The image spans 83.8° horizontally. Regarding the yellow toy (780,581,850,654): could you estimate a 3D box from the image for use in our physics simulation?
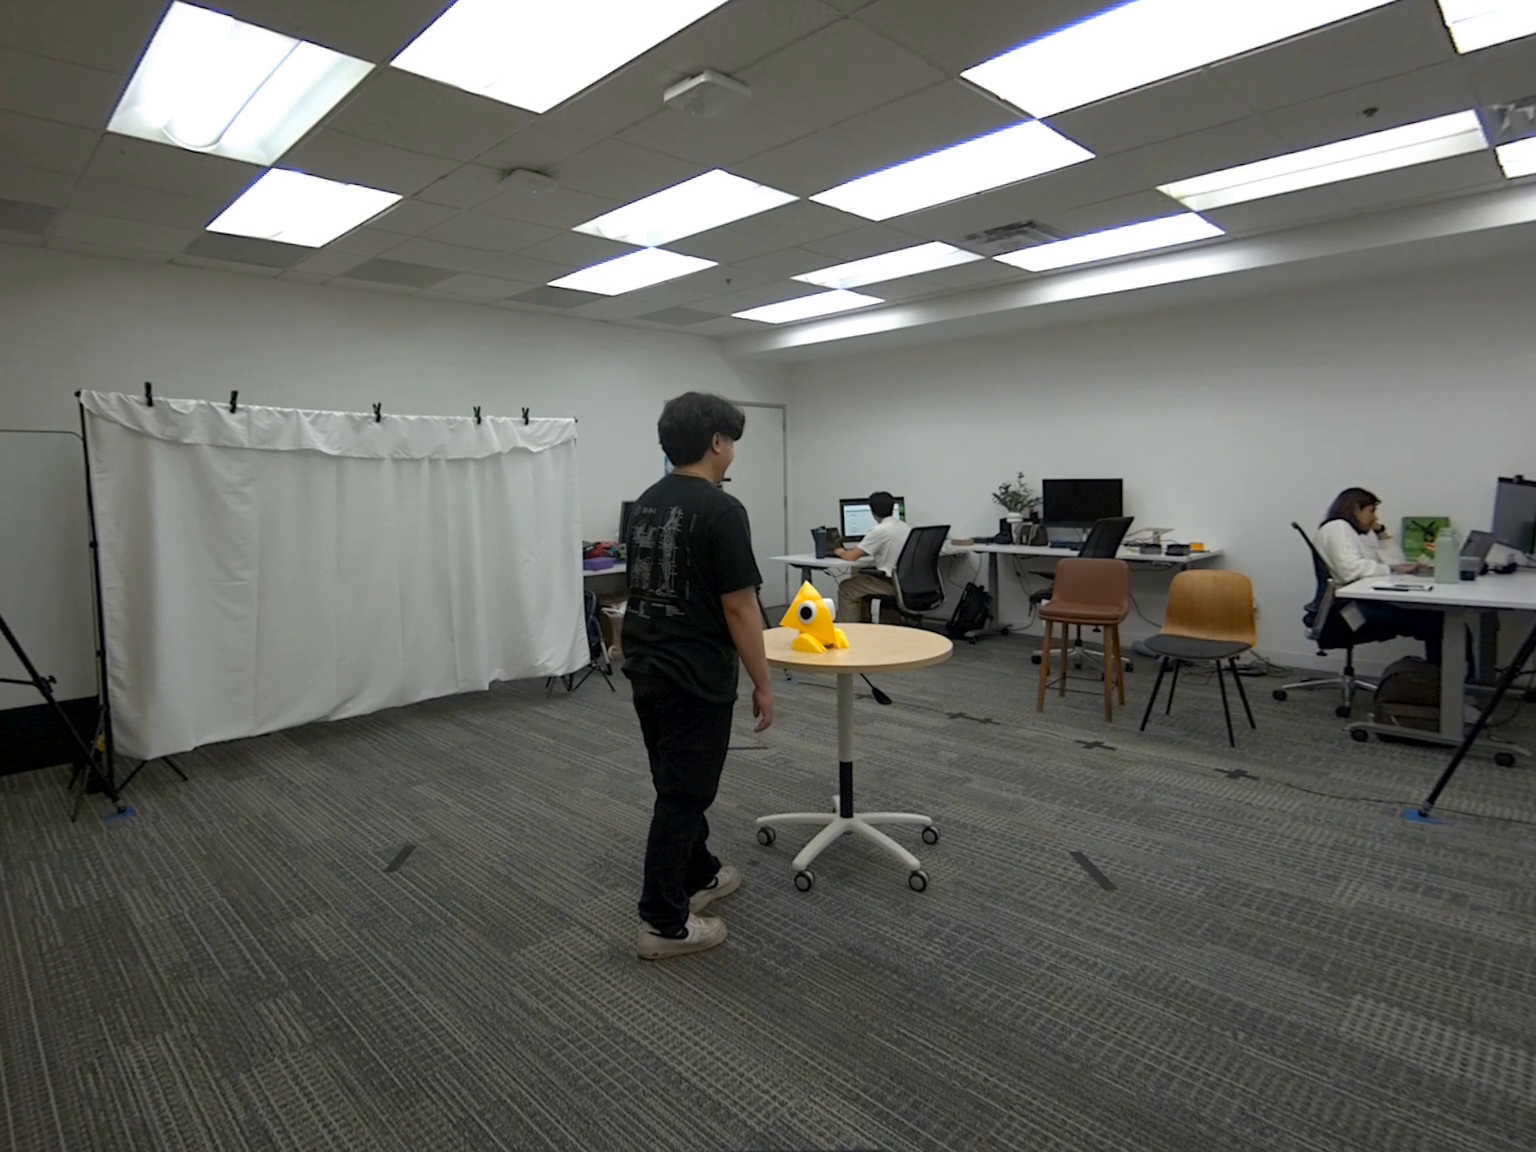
[{"bbox_3d":[0.182,0.138,3.048,0.199,0.230,0.199,-5,6,-37],"label":"yellow toy"}]
